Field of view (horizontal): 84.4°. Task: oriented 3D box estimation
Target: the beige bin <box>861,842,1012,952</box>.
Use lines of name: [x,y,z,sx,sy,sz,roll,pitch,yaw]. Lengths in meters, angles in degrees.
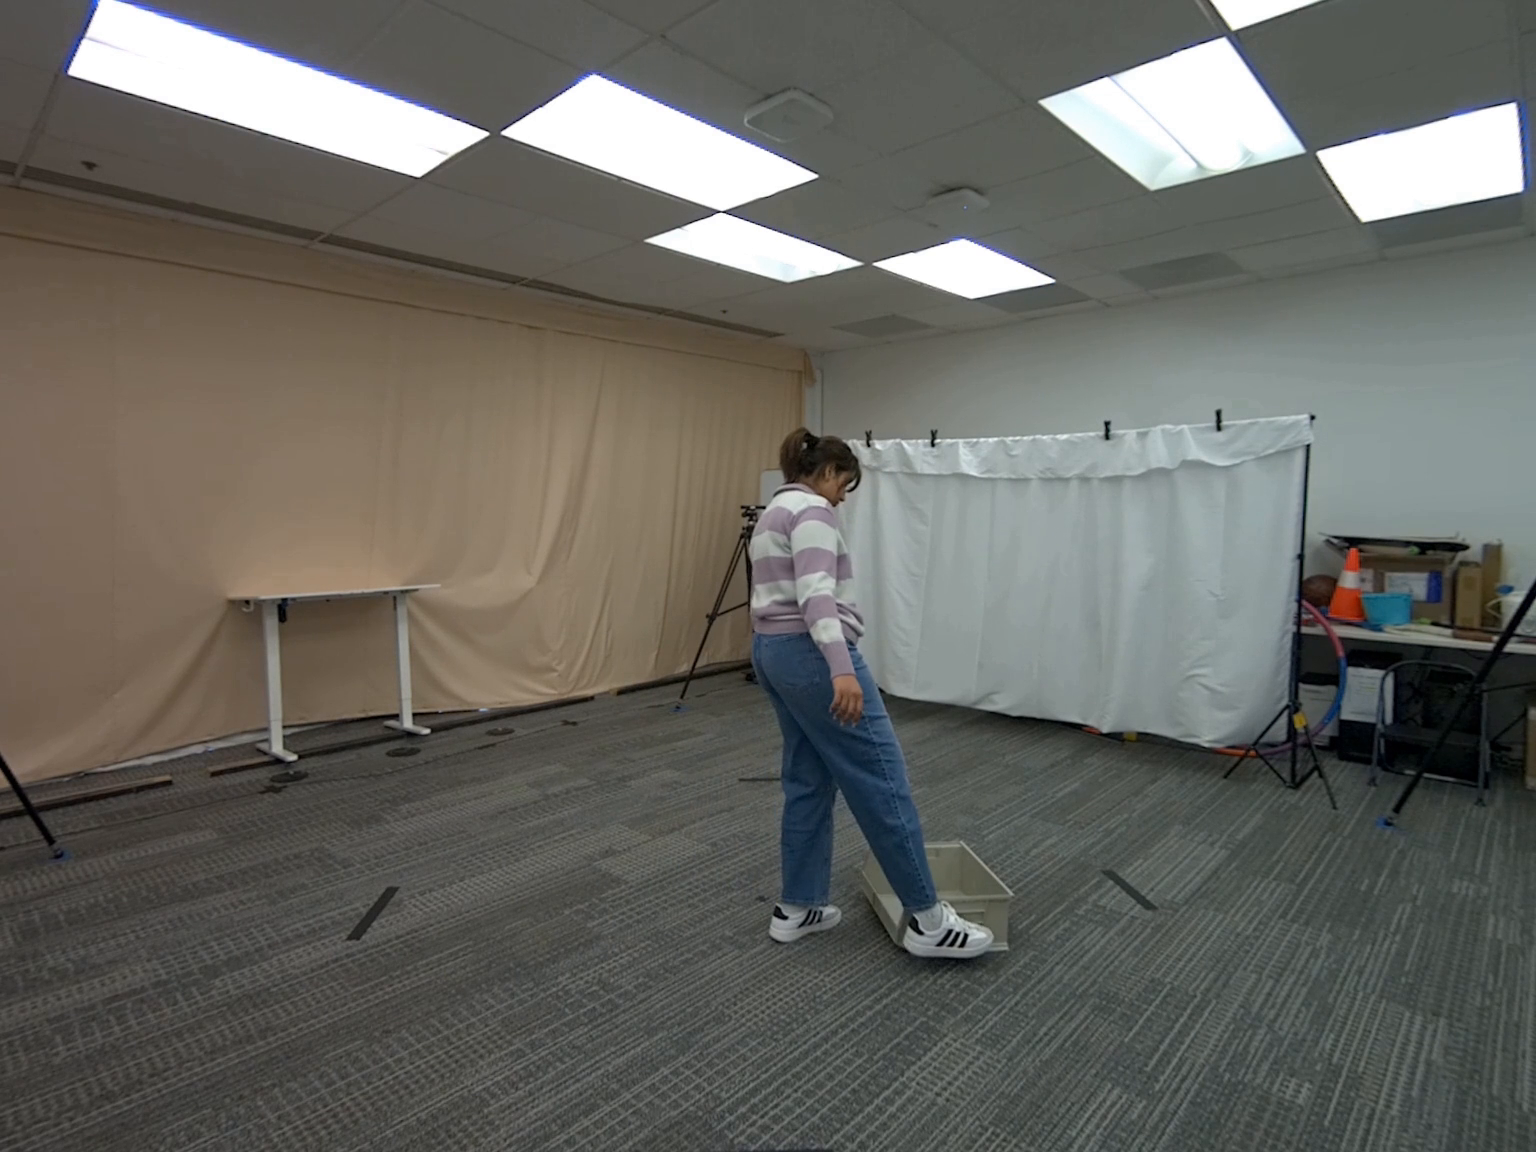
beige bin: [0.559,1.070,2.822,0.374,0.188,0.427,-1,4,-8]
